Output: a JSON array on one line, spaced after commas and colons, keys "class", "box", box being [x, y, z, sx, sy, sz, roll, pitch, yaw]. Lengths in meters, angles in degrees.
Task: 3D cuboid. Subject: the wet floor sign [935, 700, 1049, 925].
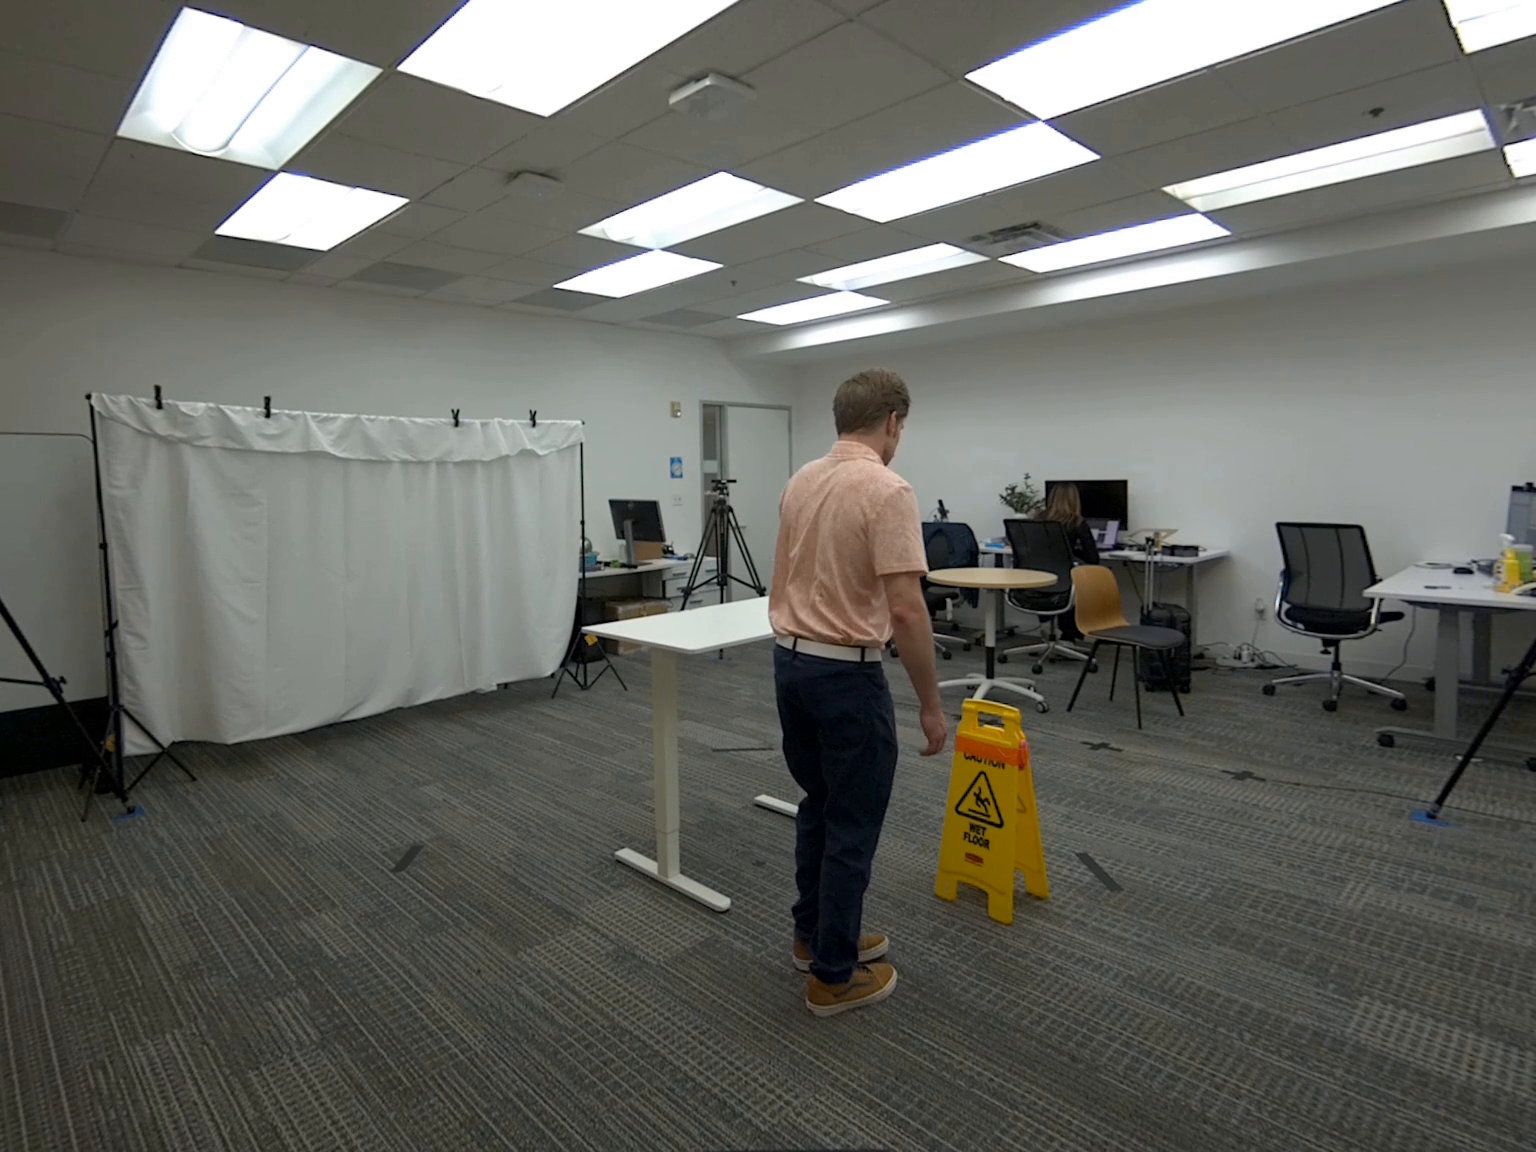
[{"class": "wet floor sign", "box": [0.736, 0.746, 2.807, 0.282, 0.644, 0.291, -6, 5, -44]}]
